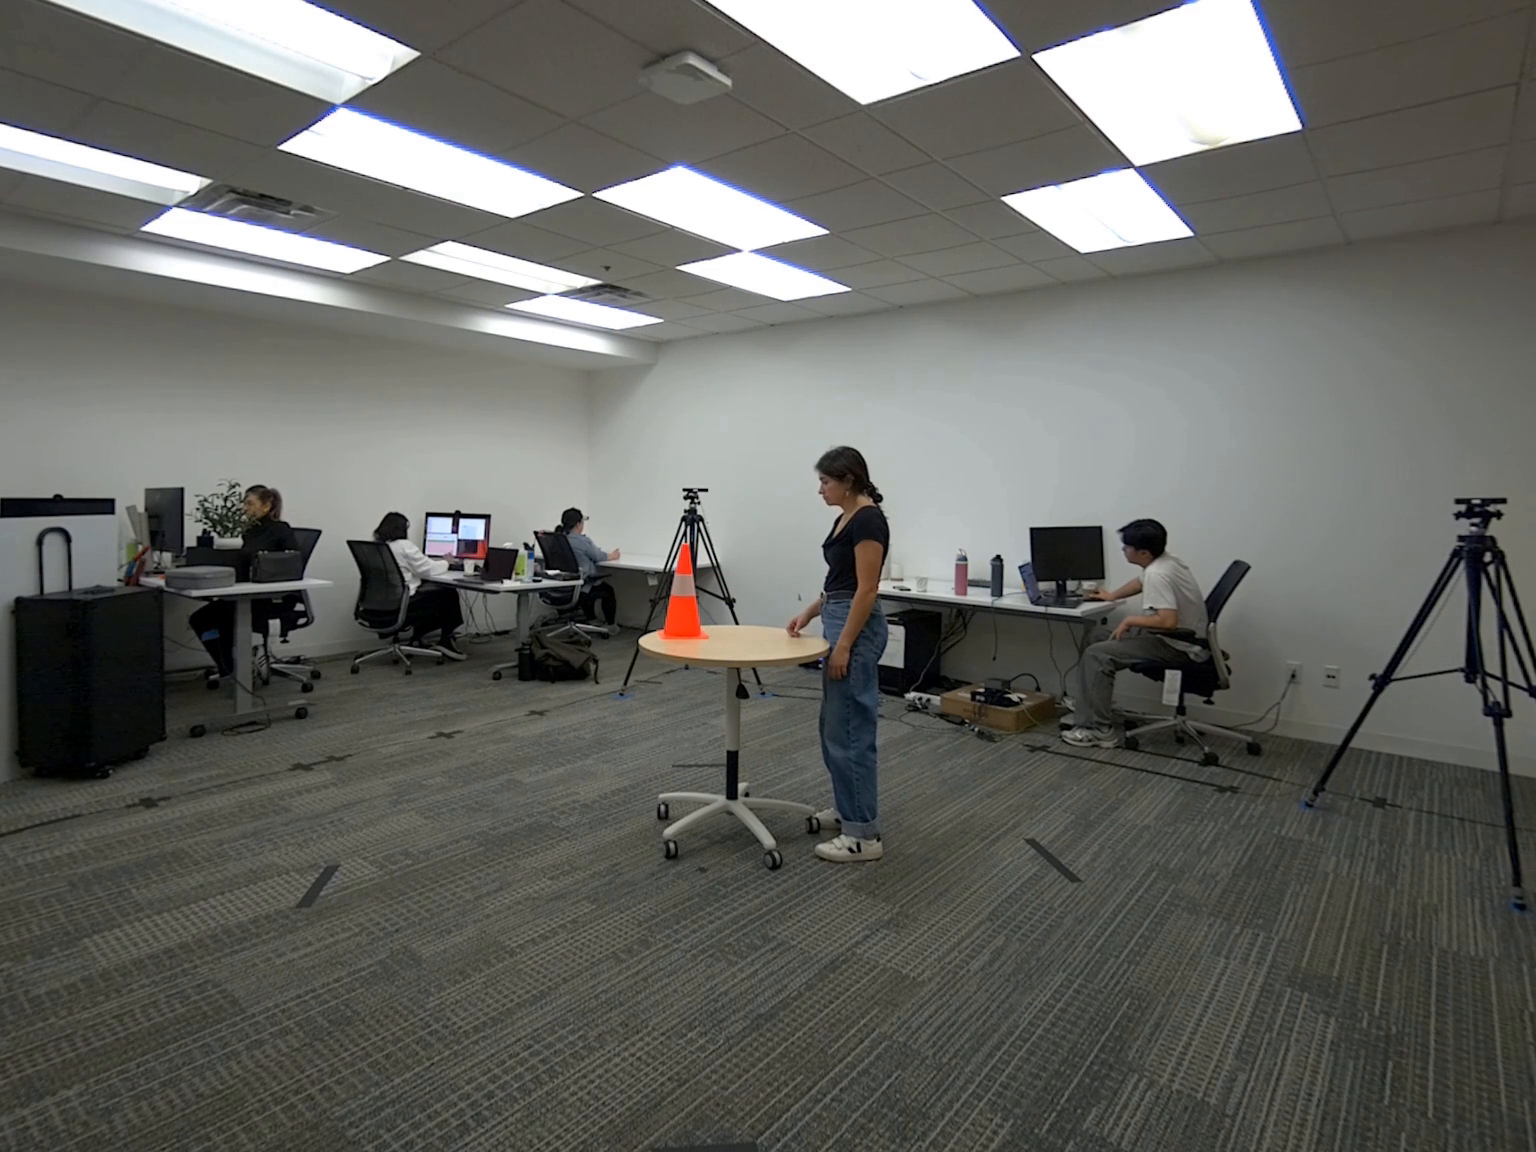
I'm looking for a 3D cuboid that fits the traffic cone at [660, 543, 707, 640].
[{"bbox_3d":[-0.344,0.050,3.550,0.202,0.383,0.207,3,3,-16],"label":"traffic cone"}]
